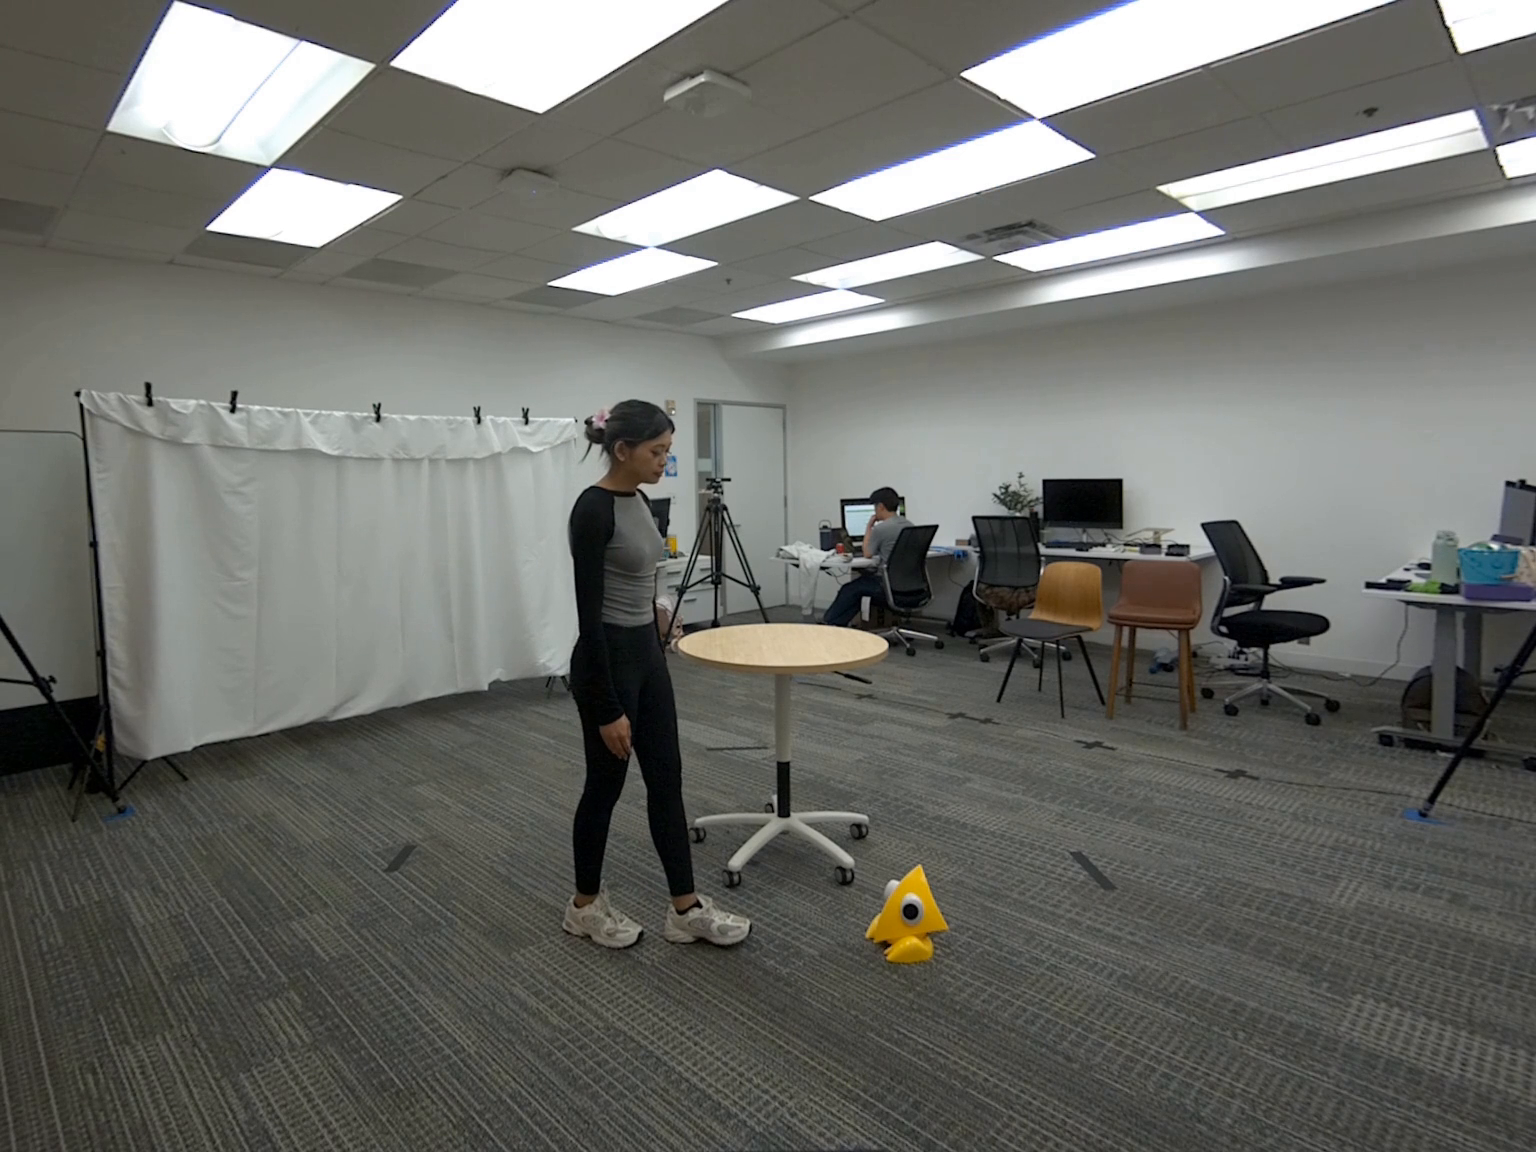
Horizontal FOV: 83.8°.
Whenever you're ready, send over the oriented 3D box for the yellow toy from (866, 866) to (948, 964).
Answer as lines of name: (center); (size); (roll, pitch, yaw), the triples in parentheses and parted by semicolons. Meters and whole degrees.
yellow toy: (0.407, 0.989, 2.545); (0.190, 0.229, 0.209); (-3, 6, -20)
